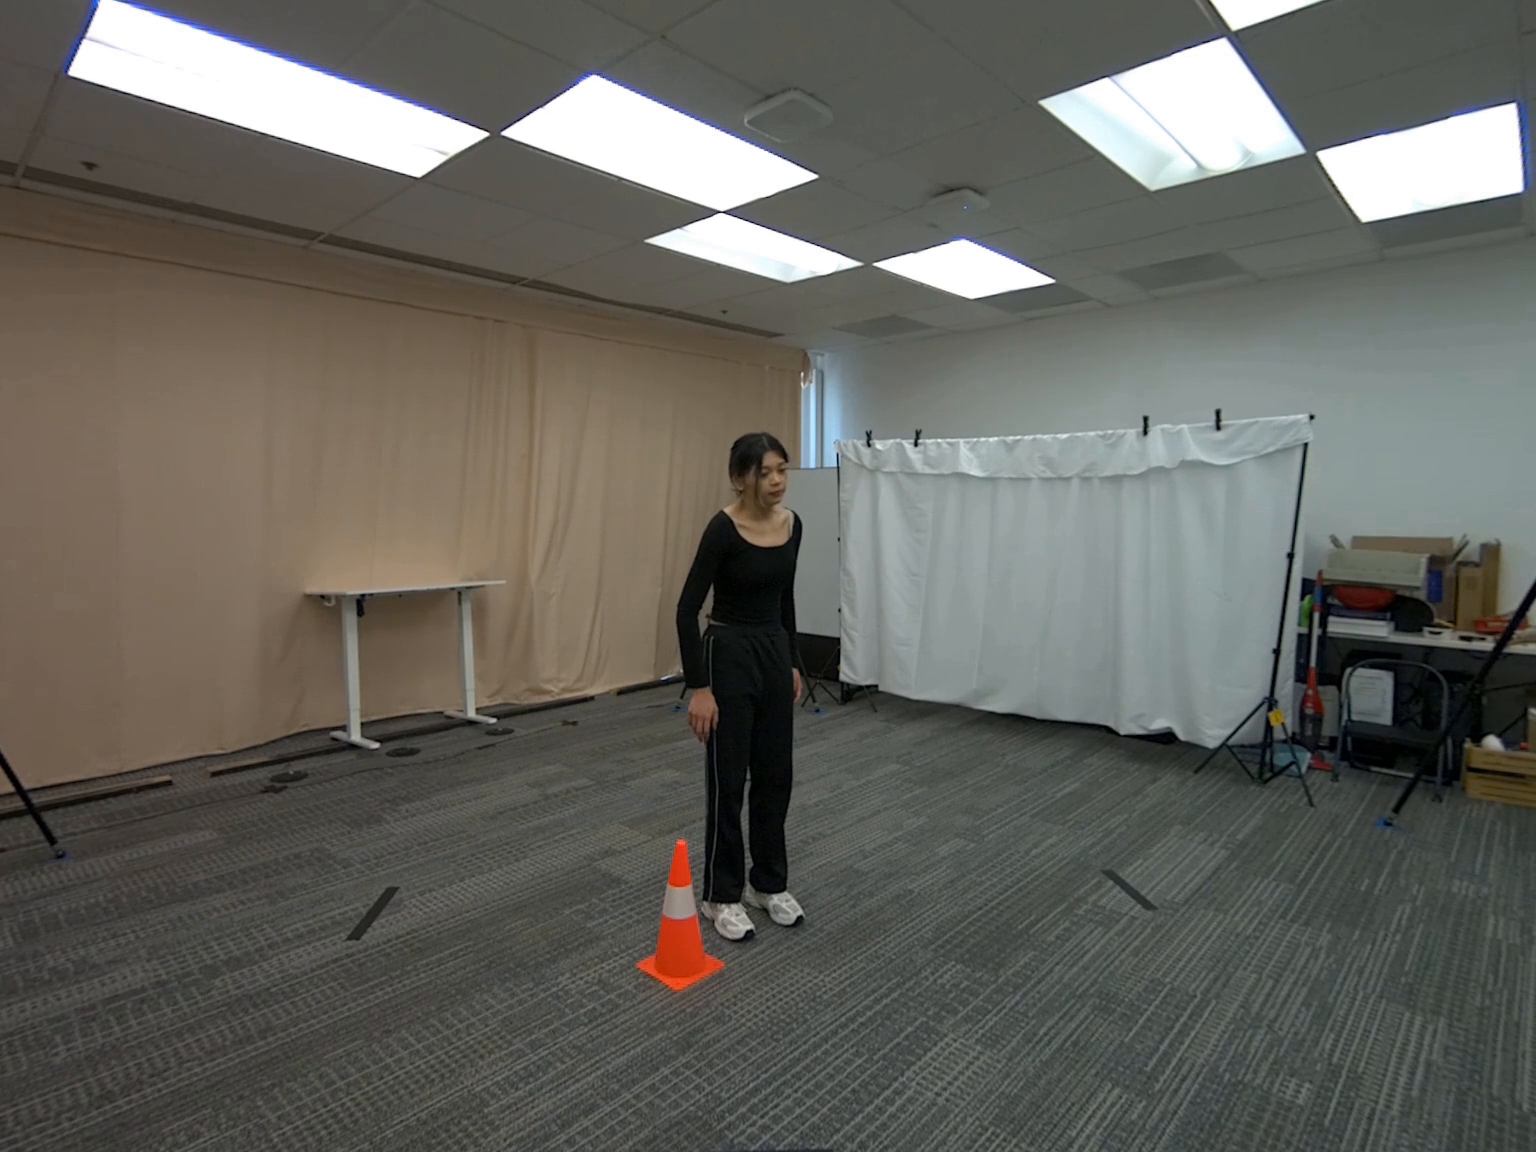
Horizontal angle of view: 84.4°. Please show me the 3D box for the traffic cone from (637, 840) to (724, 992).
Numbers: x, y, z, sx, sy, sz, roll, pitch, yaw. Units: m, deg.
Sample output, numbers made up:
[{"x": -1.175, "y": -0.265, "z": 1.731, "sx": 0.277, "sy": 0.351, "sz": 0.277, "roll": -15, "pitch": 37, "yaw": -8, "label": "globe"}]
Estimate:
[{"x": -0.263, "y": 0.995, "z": 2.539, "sx": 0.197, "sy": 0.383, "sz": 0.211, "roll": -3, "pitch": 4, "yaw": -34, "label": "traffic cone"}]
